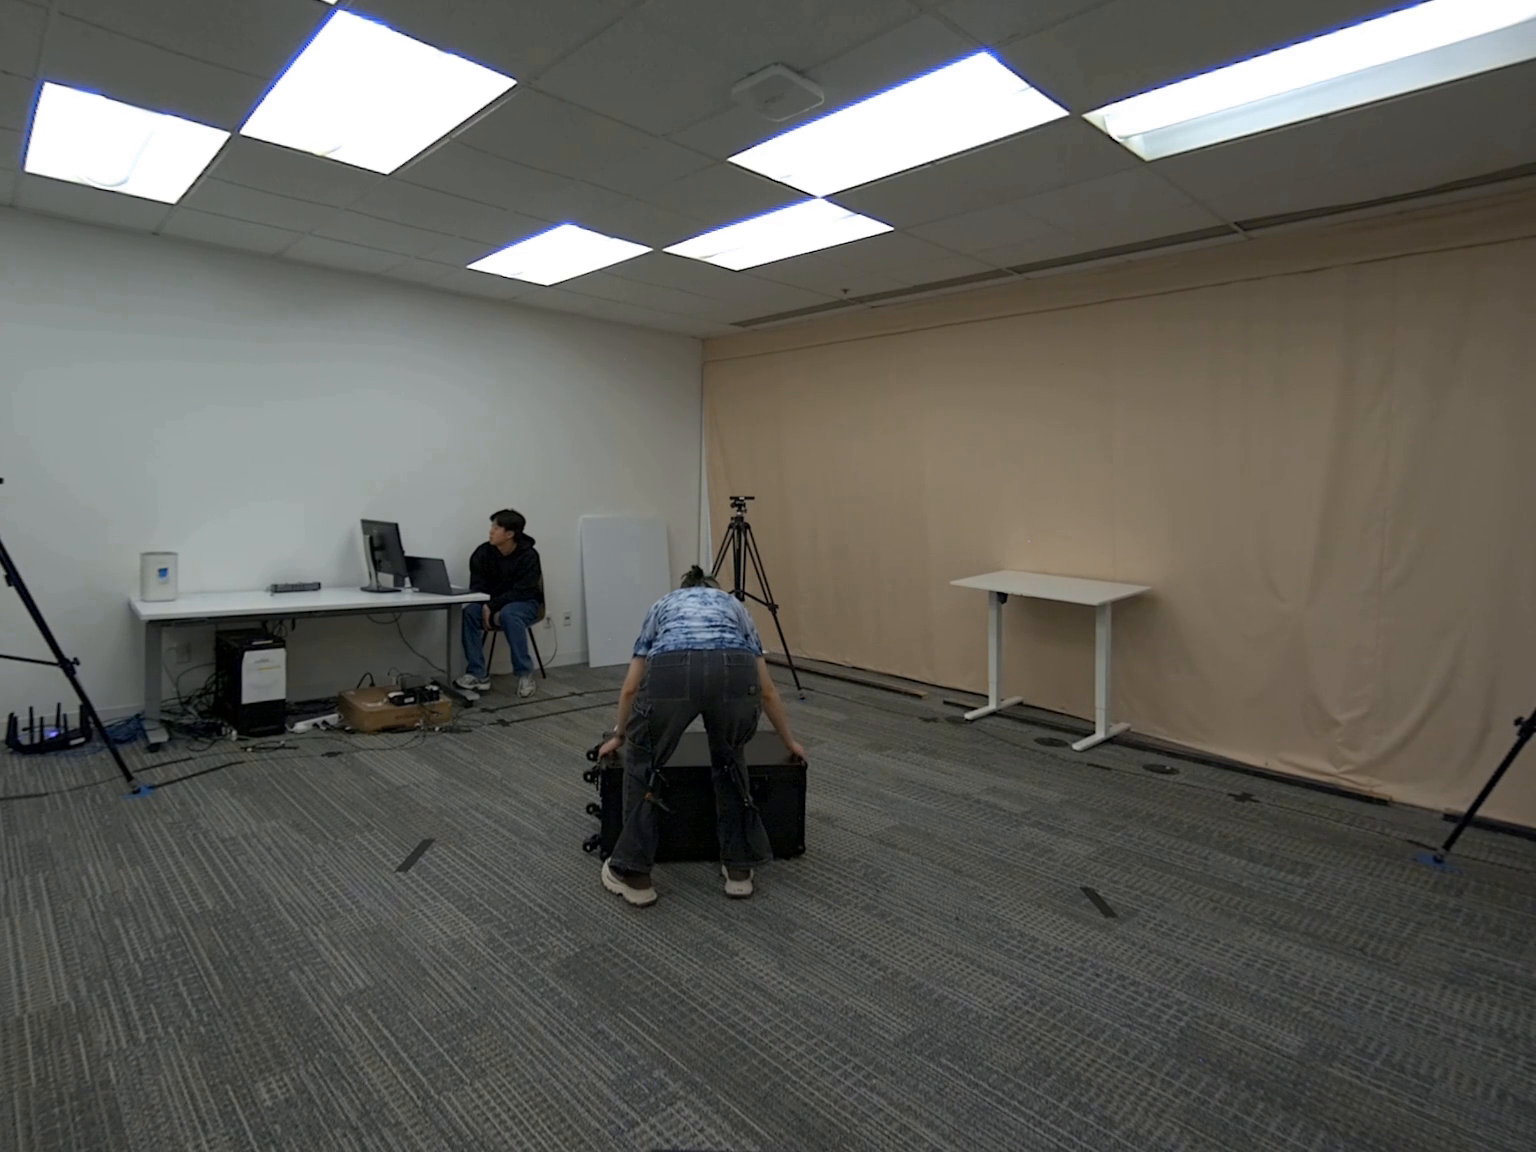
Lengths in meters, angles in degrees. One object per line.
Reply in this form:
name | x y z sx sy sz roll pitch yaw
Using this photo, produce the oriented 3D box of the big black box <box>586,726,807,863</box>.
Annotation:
big black box | -0.260 0.876 3.424 0.855 0.395 0.527 0 5 -9
